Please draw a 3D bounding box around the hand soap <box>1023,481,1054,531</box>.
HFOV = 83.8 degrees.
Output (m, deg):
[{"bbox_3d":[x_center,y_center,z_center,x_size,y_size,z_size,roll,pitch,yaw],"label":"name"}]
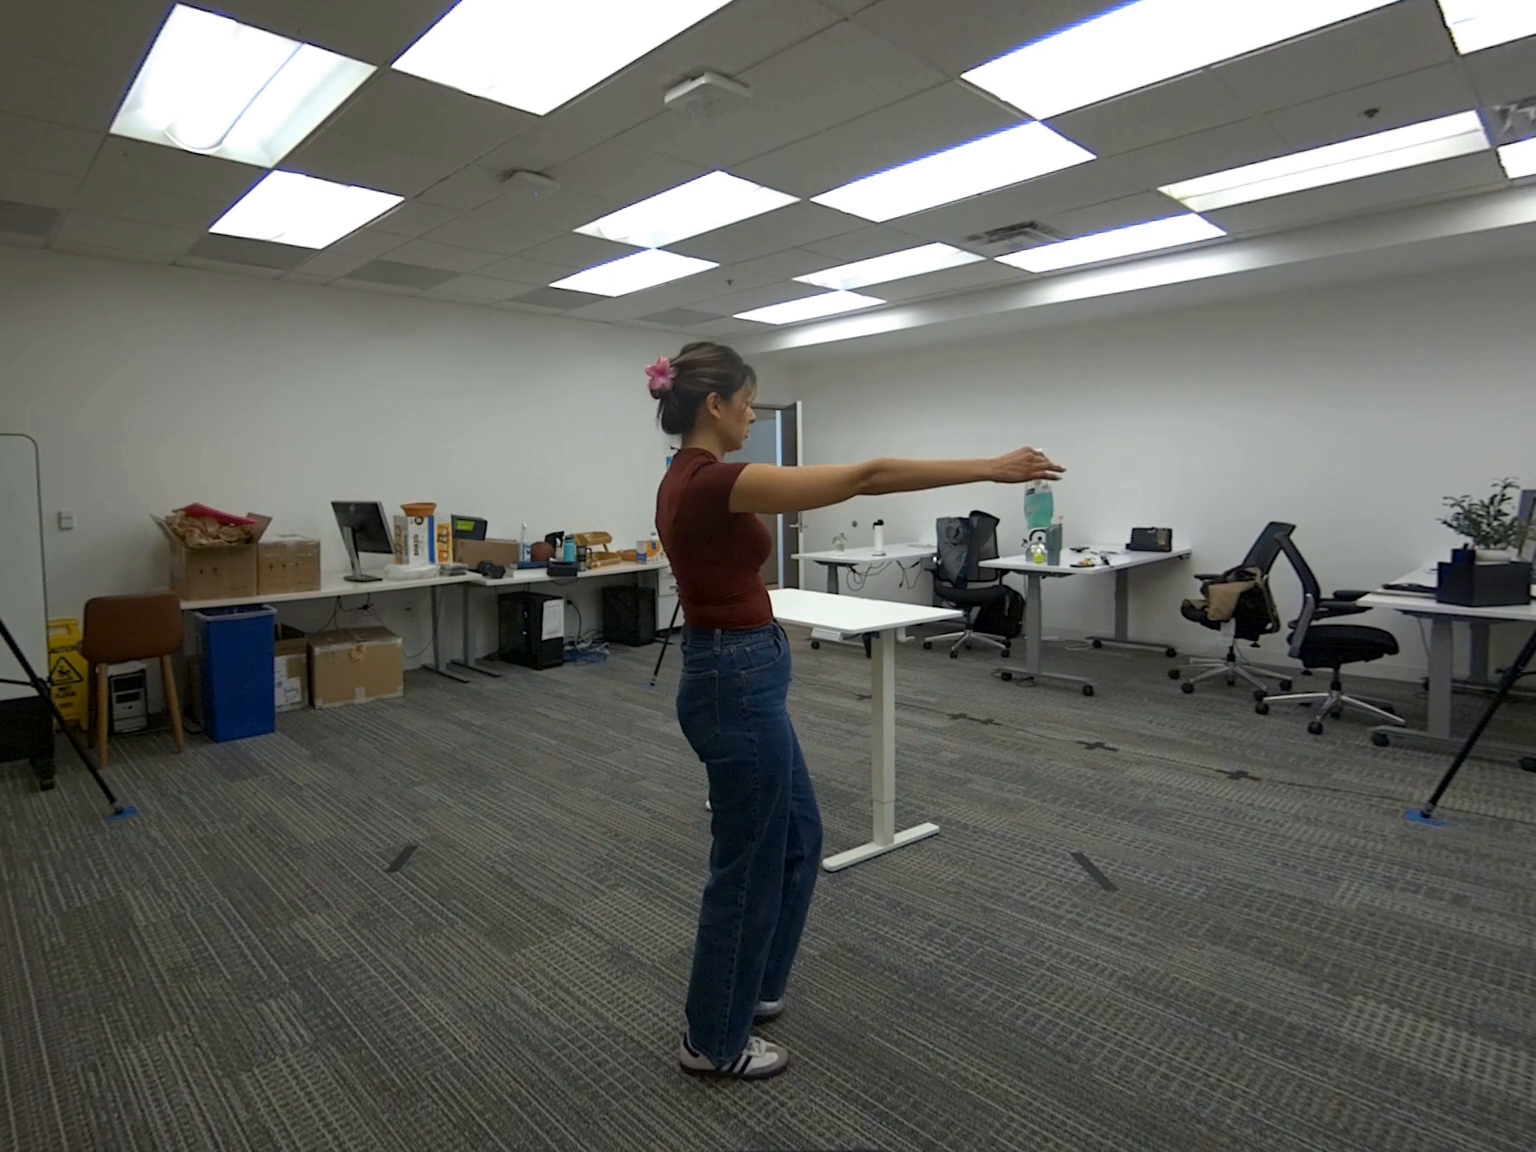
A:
[{"bbox_3d":[0.577,-0.183,1.819,0.043,0.168,0.085,-2,-2,-8],"label":"hand soap"}]
